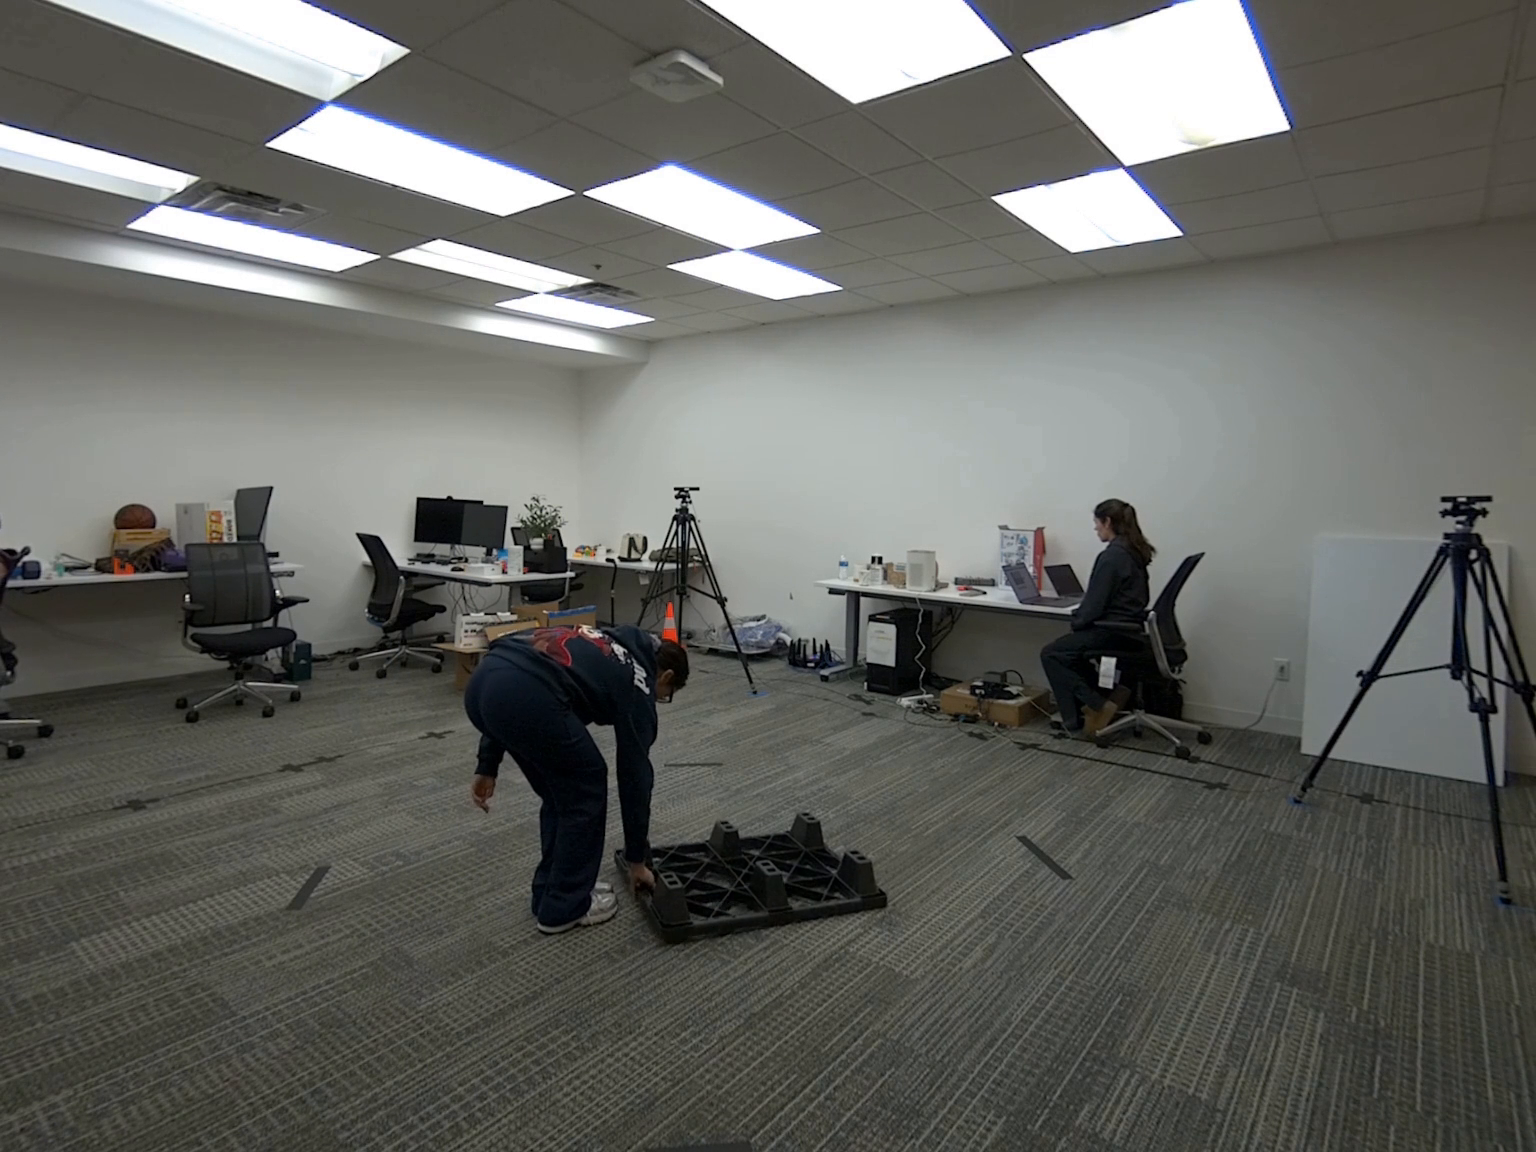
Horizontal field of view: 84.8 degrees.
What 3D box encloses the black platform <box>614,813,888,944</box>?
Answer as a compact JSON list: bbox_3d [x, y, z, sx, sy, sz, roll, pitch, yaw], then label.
[{"bbox_3d":[-0.083,0.996,2.982,0.787,0.143,0.621,1,6,-23],"label":"black platform"}]
